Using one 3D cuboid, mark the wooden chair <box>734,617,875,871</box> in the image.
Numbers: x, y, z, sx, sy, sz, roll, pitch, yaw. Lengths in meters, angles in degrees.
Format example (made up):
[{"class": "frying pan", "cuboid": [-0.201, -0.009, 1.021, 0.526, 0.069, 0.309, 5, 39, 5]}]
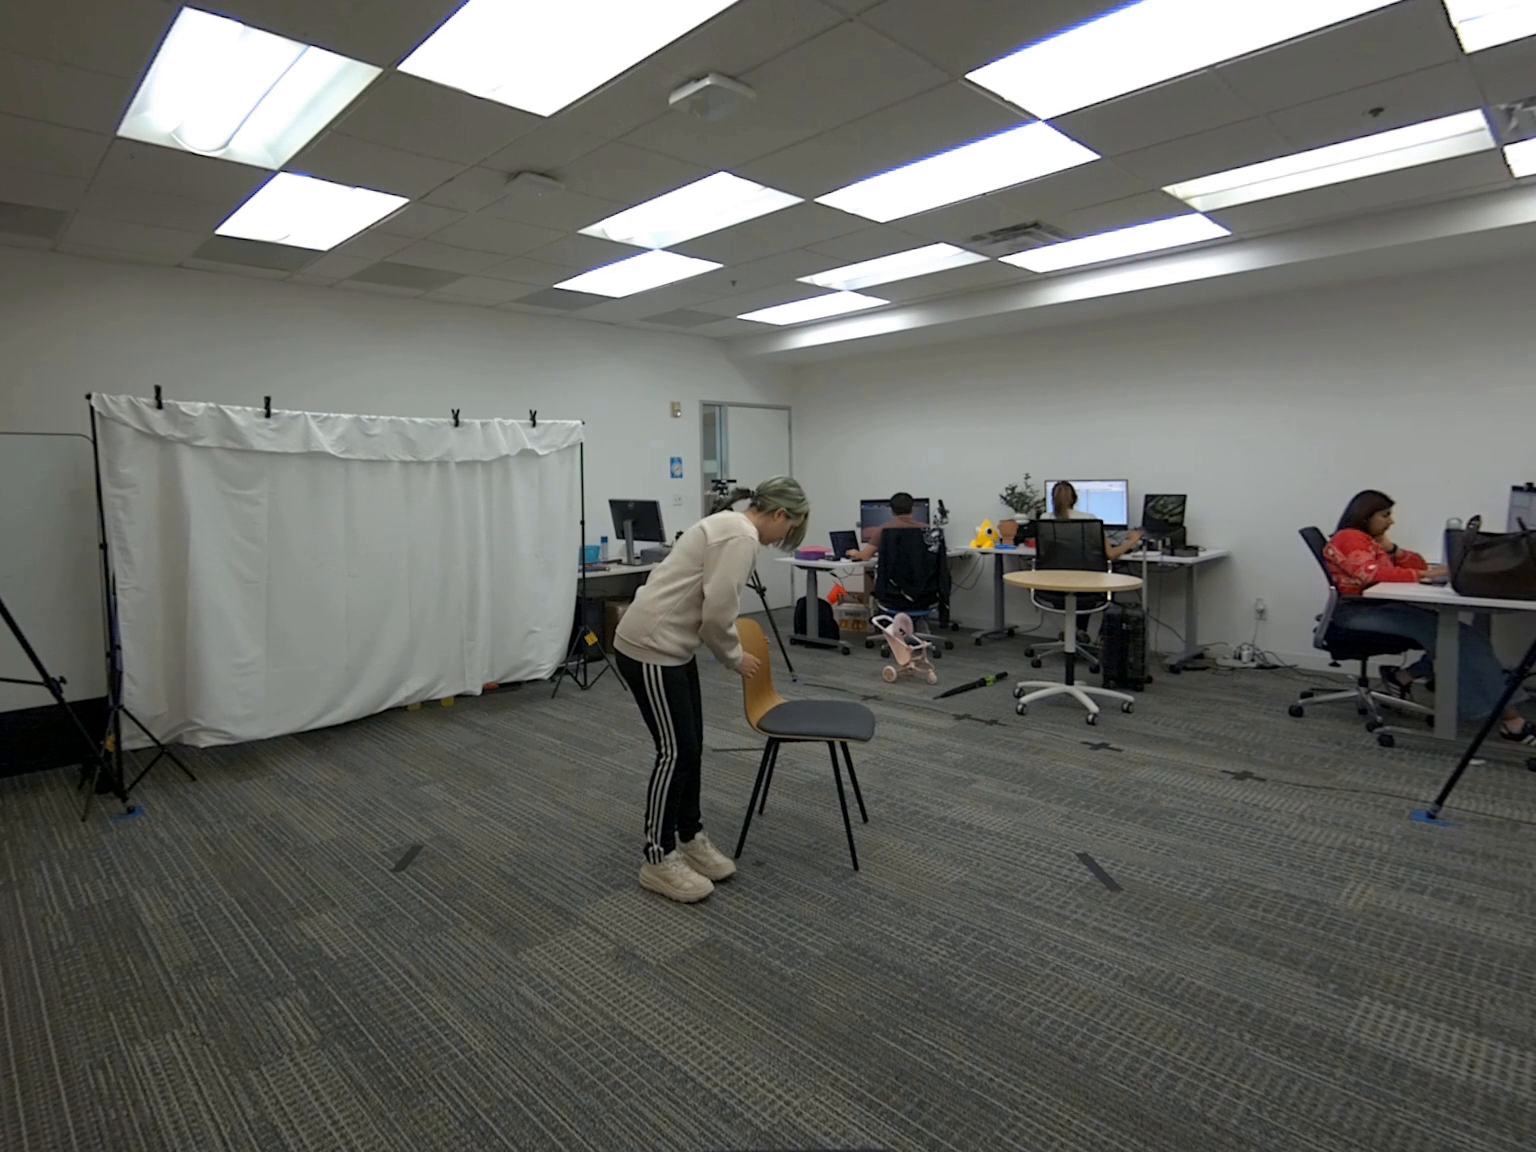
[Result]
[{"class": "wooden chair", "cuboid": [0.145, 0.595, 3.280, 0.530, 0.875, 0.473, -4, 3, 14]}]
